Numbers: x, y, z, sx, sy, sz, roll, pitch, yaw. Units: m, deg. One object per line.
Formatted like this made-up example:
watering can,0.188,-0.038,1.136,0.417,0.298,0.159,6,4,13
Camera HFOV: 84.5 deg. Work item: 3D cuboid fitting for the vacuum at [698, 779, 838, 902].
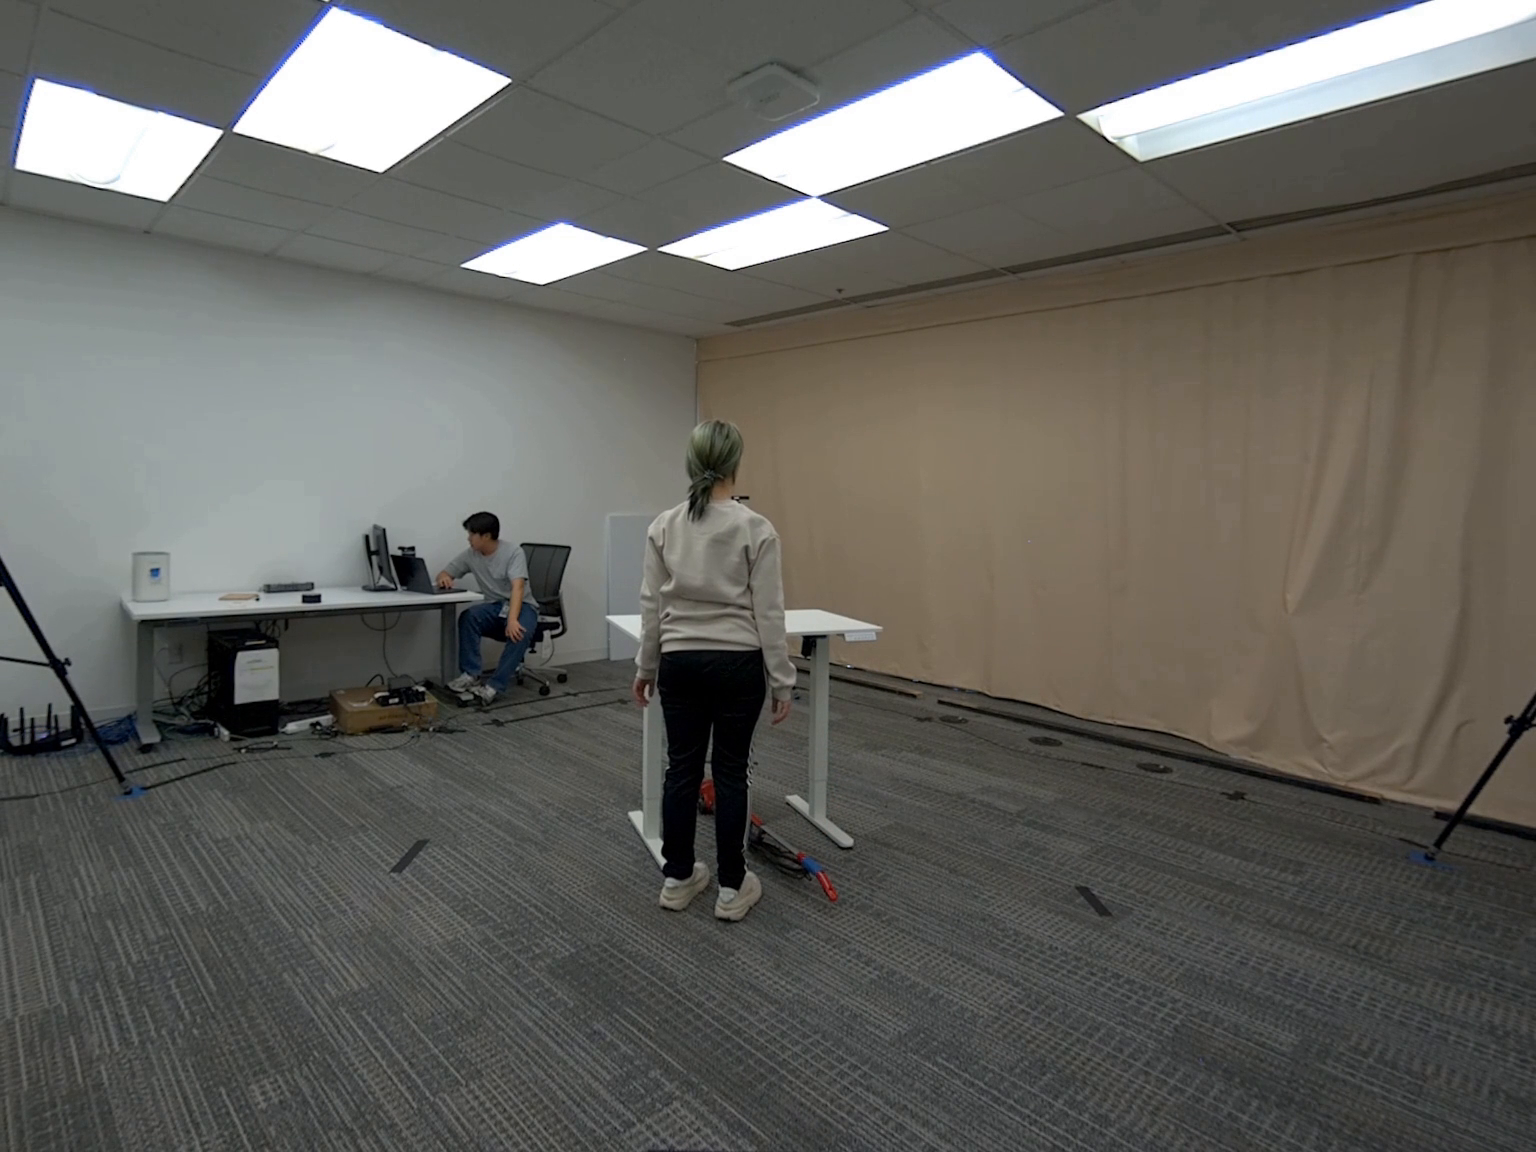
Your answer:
vacuum,-0.018,1.035,3.293,0.248,0.143,1.072,0,5,-26
